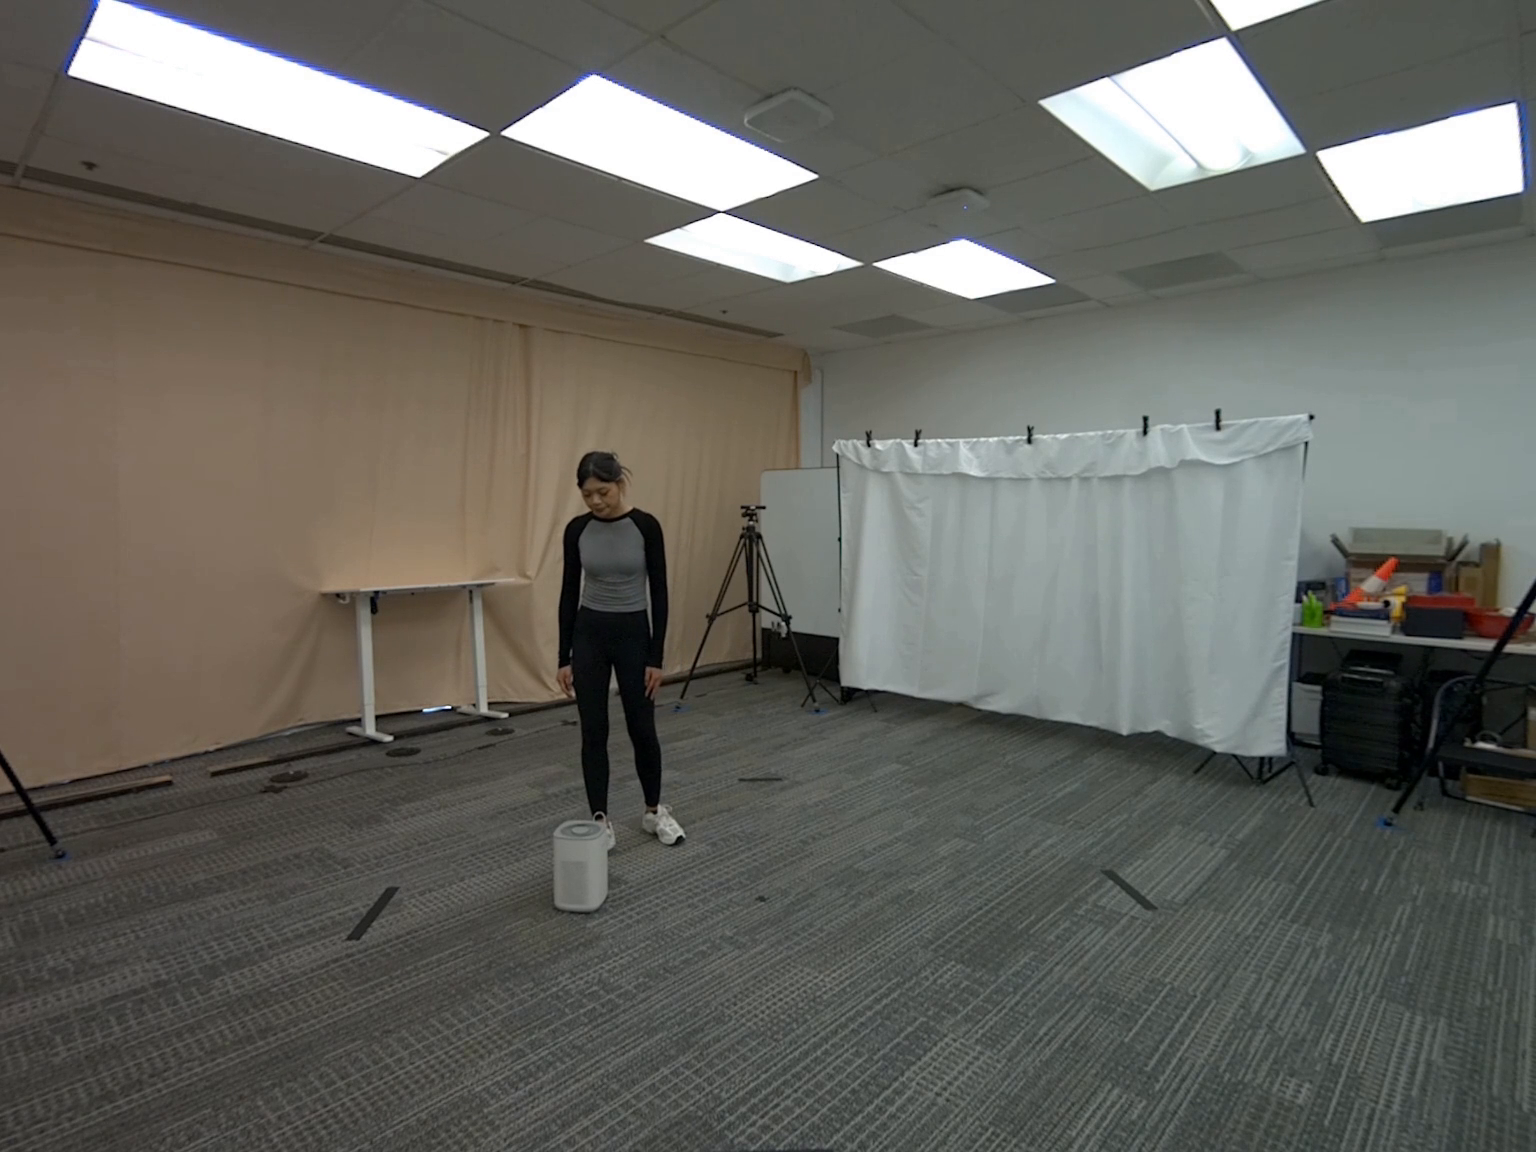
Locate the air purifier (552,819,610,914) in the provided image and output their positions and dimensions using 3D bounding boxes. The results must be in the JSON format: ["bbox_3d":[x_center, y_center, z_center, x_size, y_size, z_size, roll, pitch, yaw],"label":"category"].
[{"bbox_3d":[-0.656,1.014,2.950,0.173,0.265,0.170,1,3,7],"label":"air purifier"}]
